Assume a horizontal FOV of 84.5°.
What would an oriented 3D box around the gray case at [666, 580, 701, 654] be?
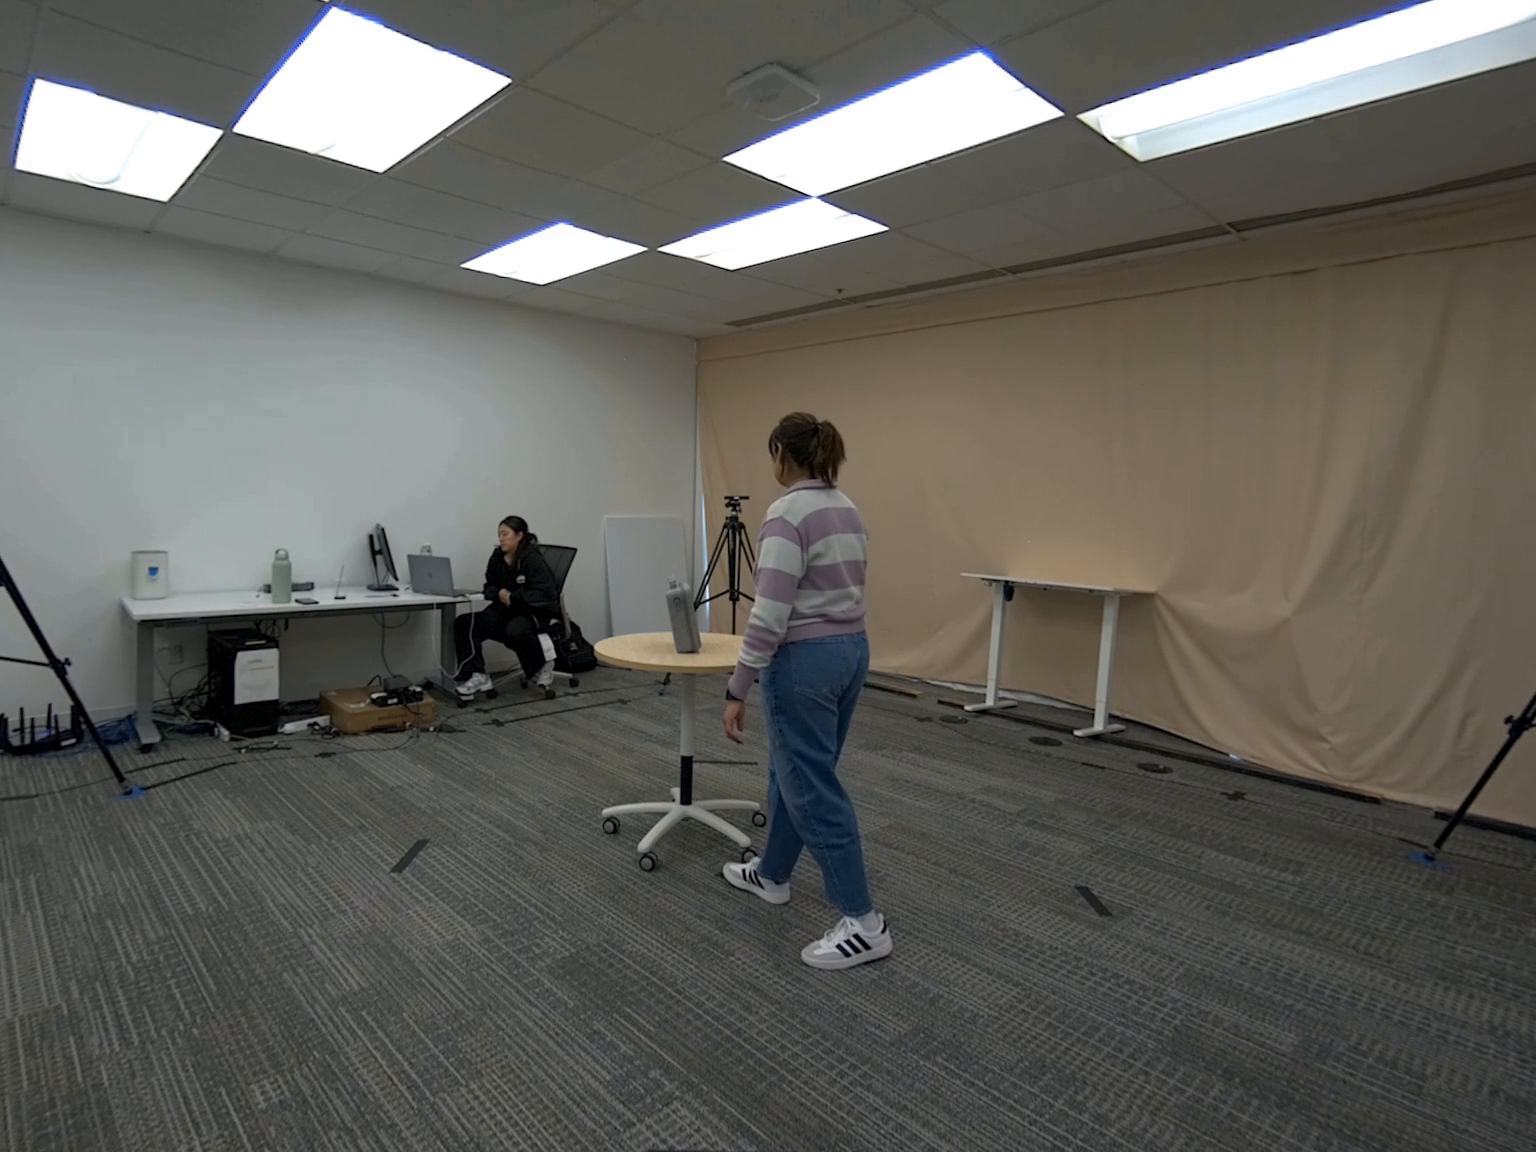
[{"bbox_3d":[-0.349,0.163,3.367,0.104,0.260,0.258,-8,4,-6],"label":"gray case"}]
